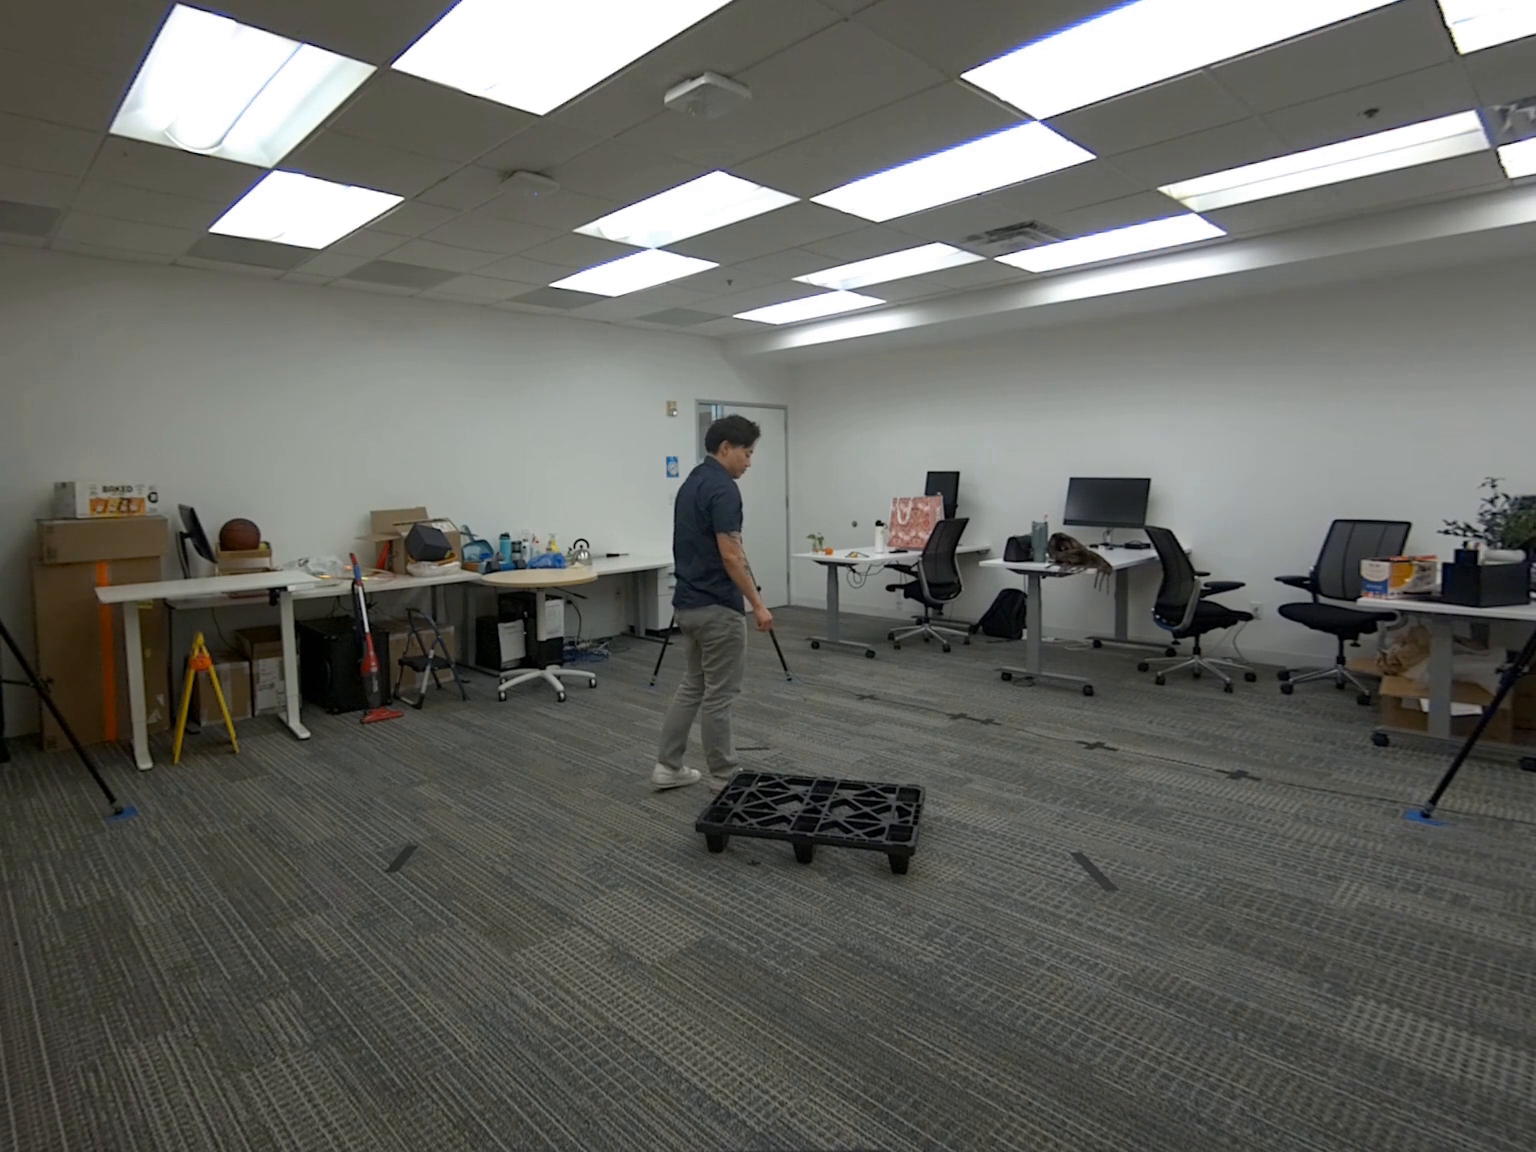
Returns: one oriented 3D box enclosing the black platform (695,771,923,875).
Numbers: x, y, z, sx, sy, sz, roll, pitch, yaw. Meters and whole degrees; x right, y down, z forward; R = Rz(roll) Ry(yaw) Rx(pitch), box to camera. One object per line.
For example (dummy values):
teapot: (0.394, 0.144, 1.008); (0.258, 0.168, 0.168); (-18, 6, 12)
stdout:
black platform: (0.184, 0.948, 3.322); (0.818, 0.143, 0.598); (1, 6, 16)
